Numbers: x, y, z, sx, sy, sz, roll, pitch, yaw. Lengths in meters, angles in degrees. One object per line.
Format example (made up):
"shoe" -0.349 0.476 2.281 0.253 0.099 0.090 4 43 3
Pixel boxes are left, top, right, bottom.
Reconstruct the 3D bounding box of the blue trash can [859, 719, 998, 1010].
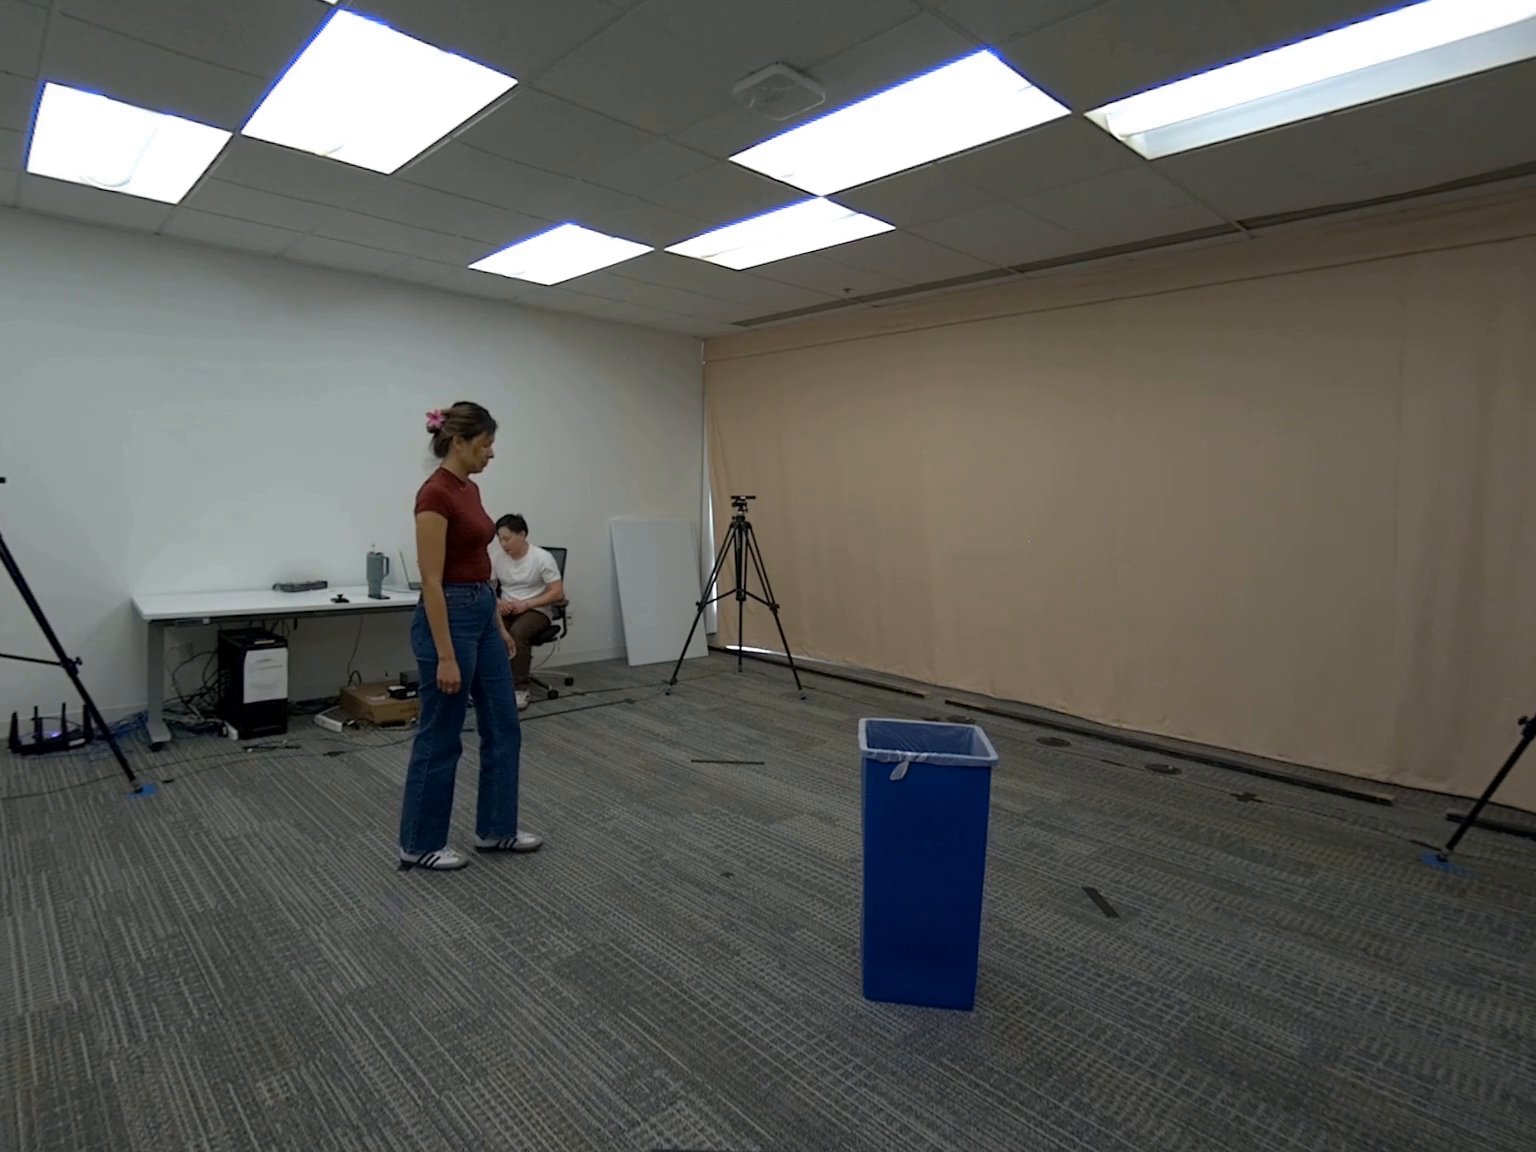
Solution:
"blue trash can" 0.436 0.822 2.450 0.381 0.712 0.372 2 4 8
